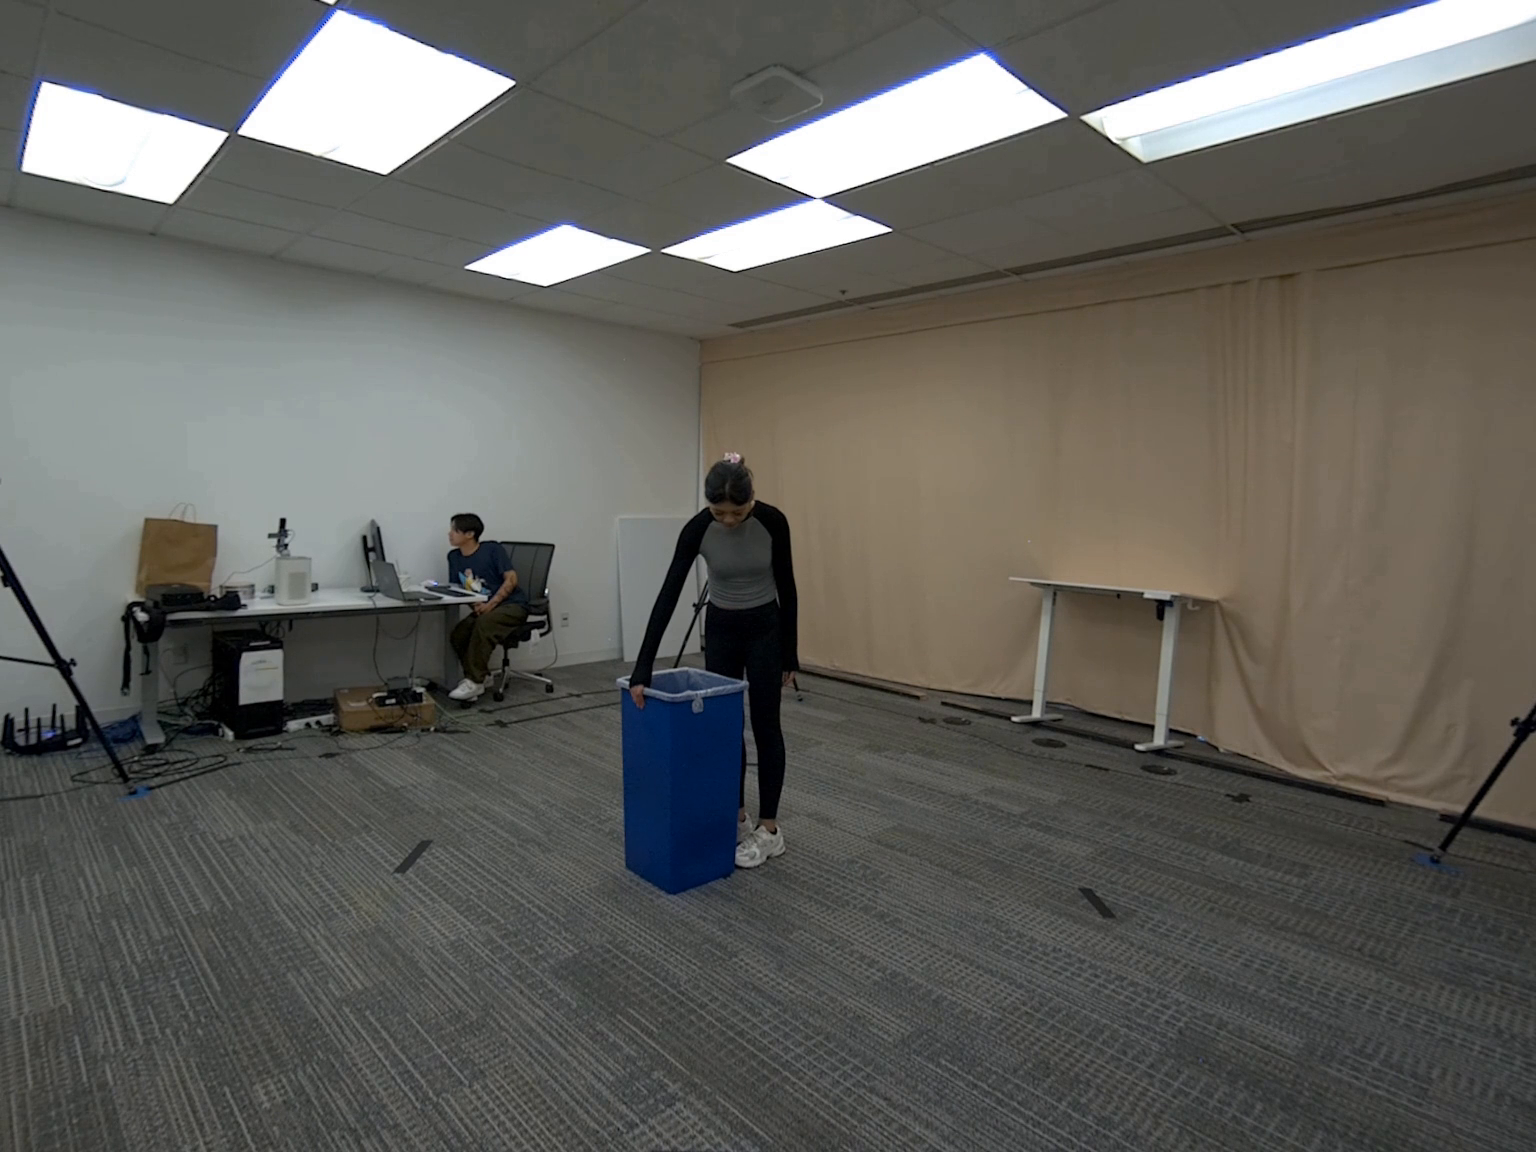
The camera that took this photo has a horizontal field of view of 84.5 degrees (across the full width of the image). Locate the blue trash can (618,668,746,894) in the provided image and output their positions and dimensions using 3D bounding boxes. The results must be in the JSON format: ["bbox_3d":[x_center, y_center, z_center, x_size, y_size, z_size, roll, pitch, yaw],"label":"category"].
[{"bbox_3d":[-0.339,0.744,3.133,0.369,0.712,0.384,-2,5,-43],"label":"blue trash can"}]
